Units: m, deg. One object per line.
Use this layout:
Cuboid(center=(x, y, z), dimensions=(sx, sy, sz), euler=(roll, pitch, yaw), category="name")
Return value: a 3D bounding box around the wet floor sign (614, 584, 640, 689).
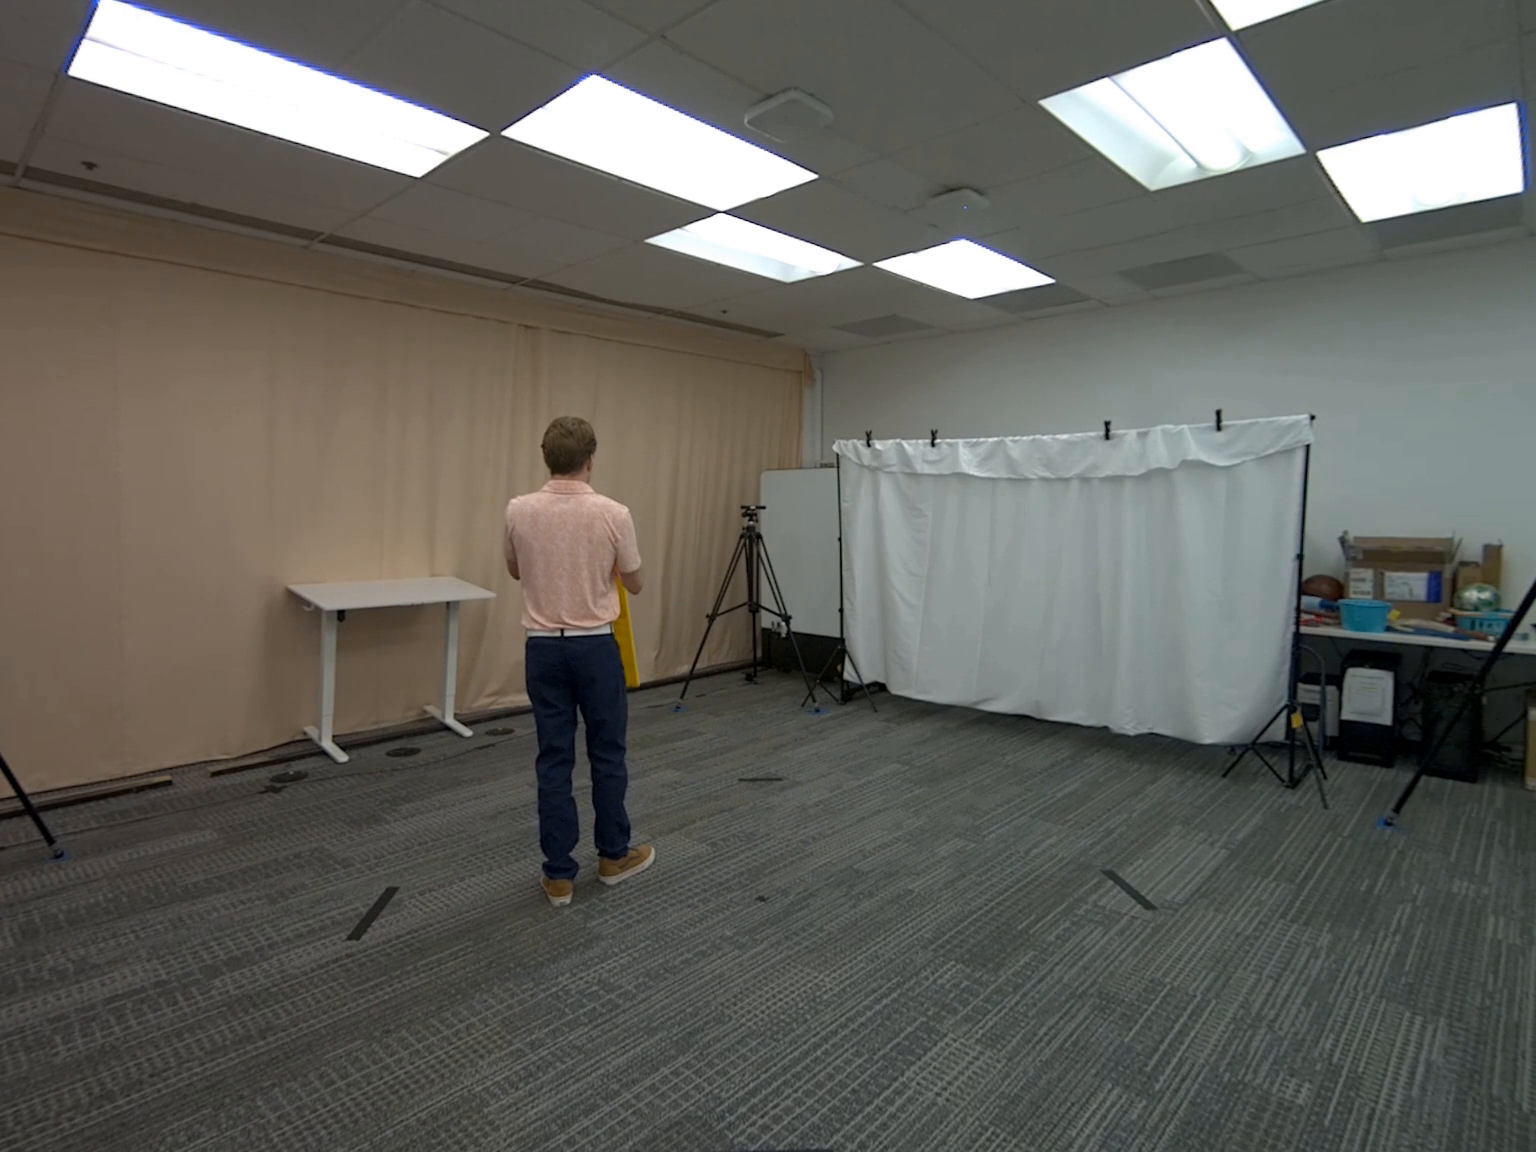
Cuboid(center=(-0.709, 0.127, 3.467), dimensions=(0.291, 0.646, 0.280), euler=(1, 1, 45), category="wet floor sign")
